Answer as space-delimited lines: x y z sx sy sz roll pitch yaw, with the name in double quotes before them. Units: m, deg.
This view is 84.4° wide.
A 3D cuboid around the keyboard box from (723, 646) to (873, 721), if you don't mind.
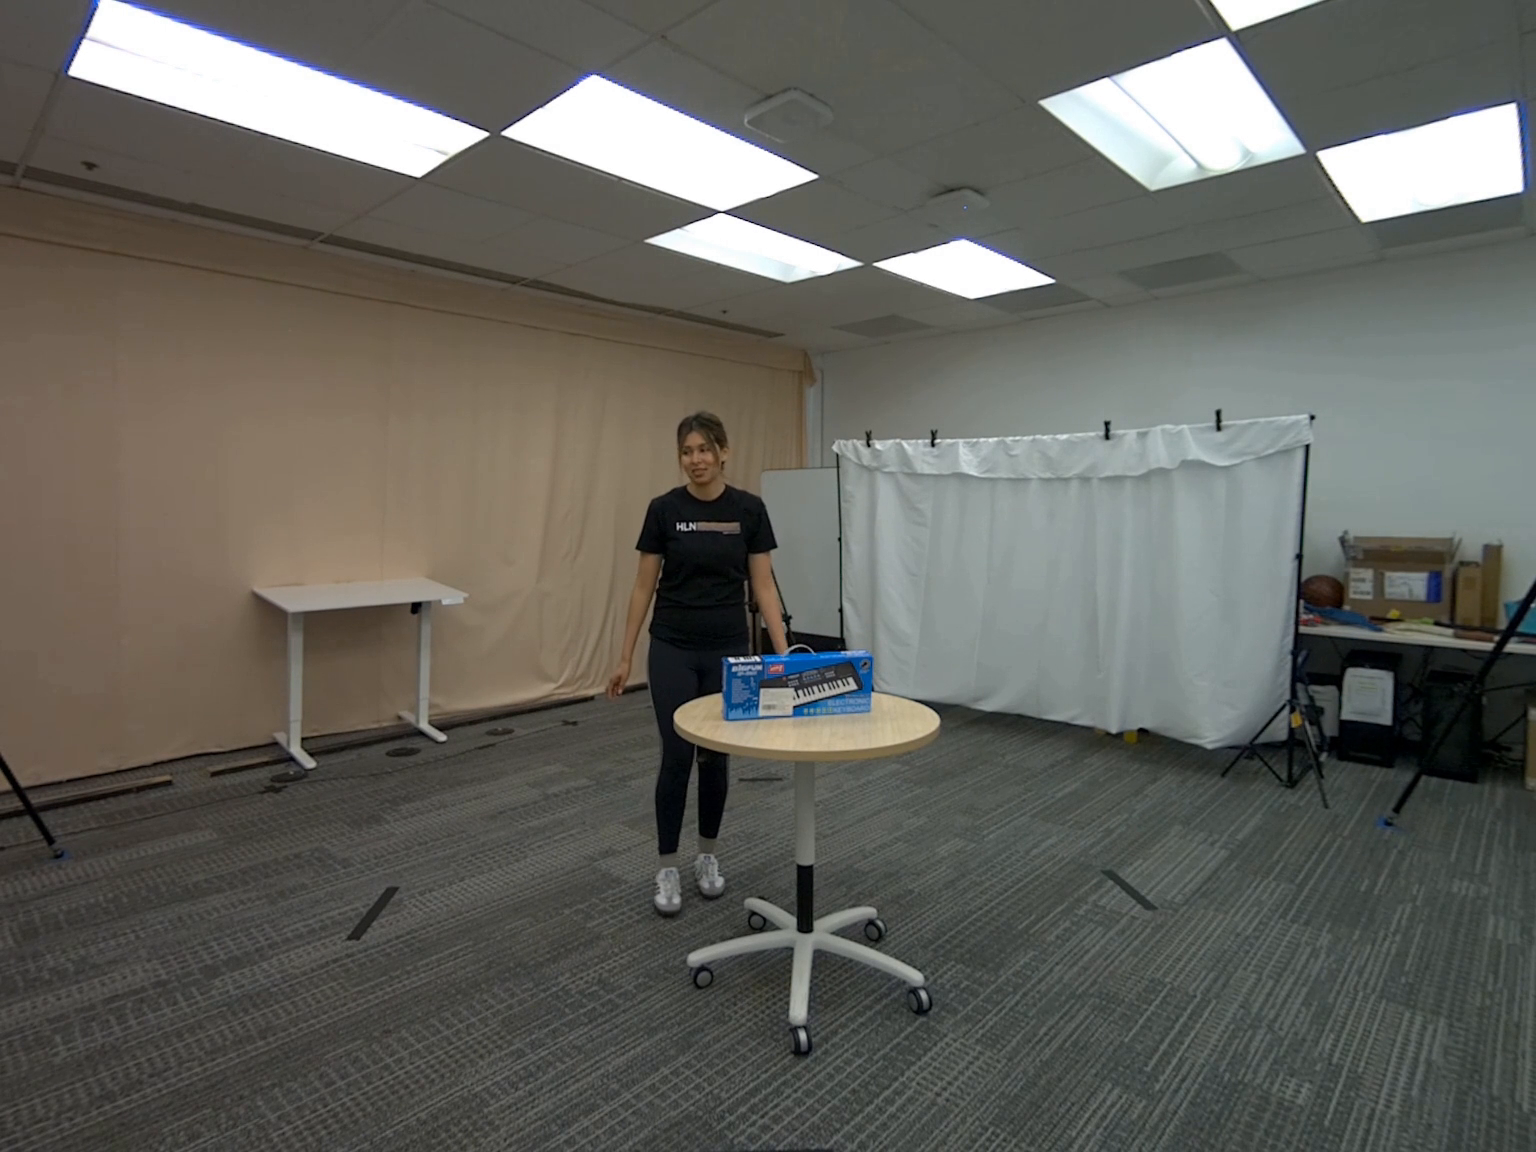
"keyboard box" 0.093 0.316 2.434 0.431 0.175 0.060 -1 8 -13
